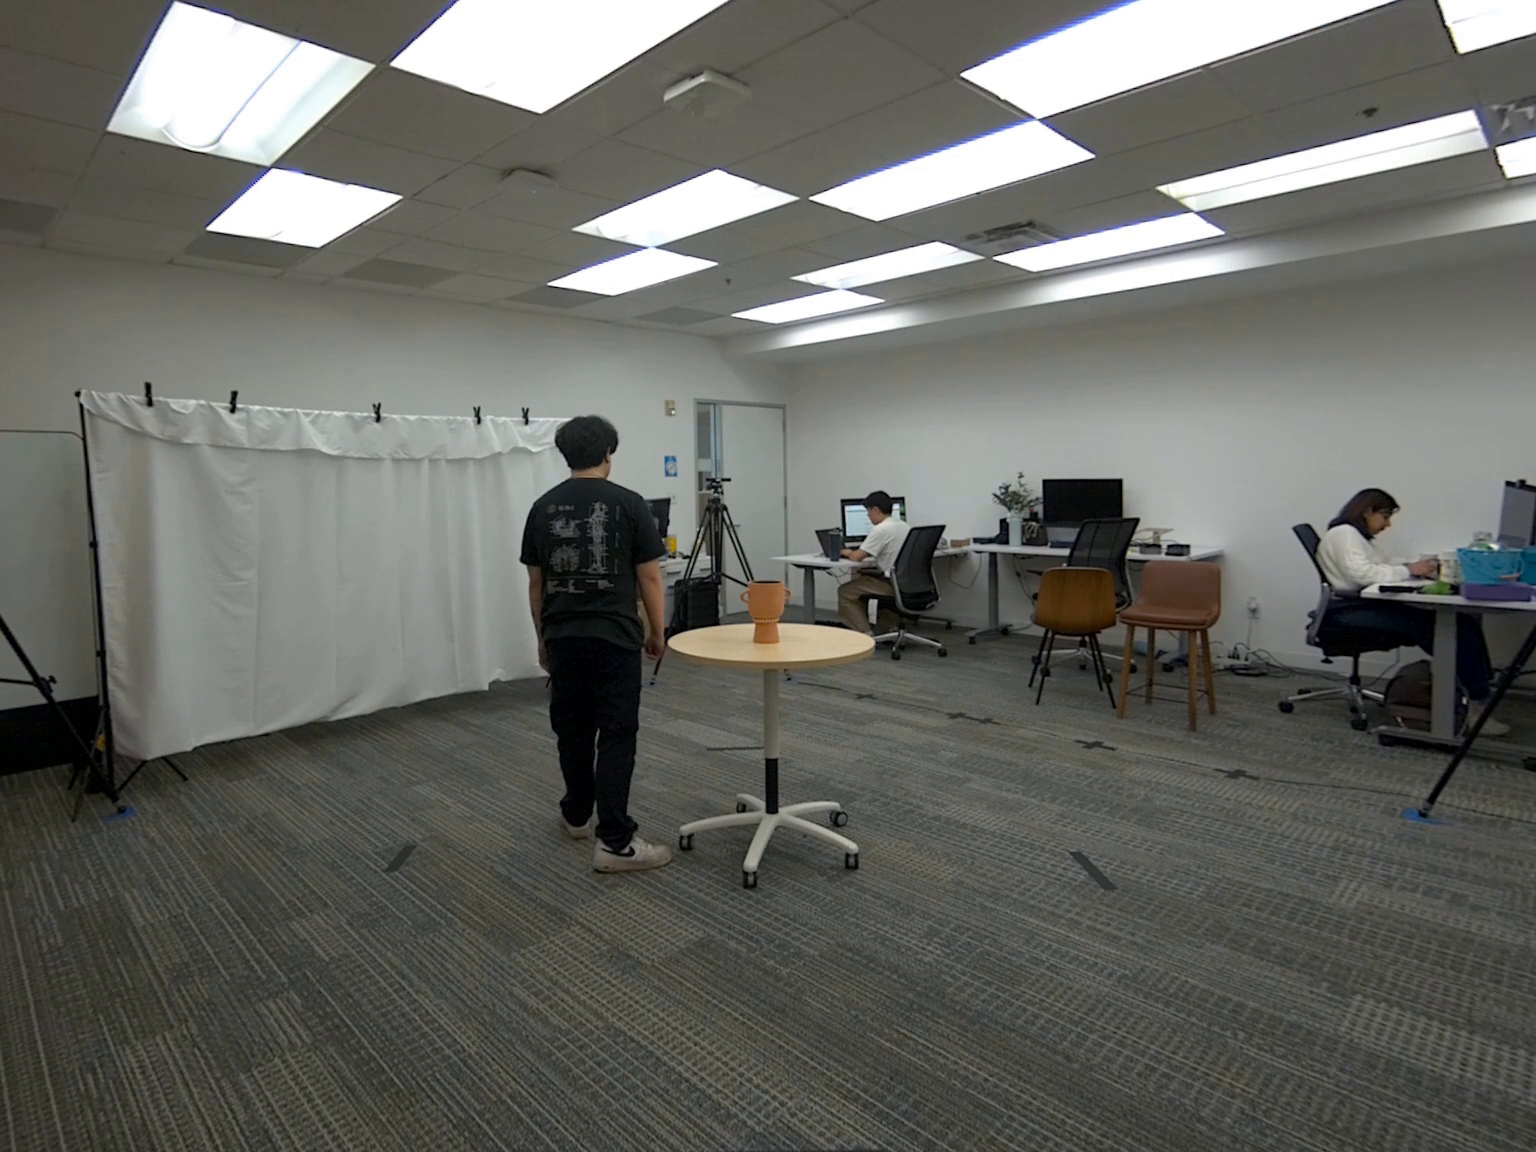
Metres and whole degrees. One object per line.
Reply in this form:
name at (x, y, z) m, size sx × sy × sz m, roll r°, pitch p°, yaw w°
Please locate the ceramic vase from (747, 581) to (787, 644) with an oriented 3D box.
ceramic vase at (-0.006, 0.129, 3.153) m, size 0.162 × 0.219 × 0.132 m, roll 1°, pitch 4°, yaw 21°
